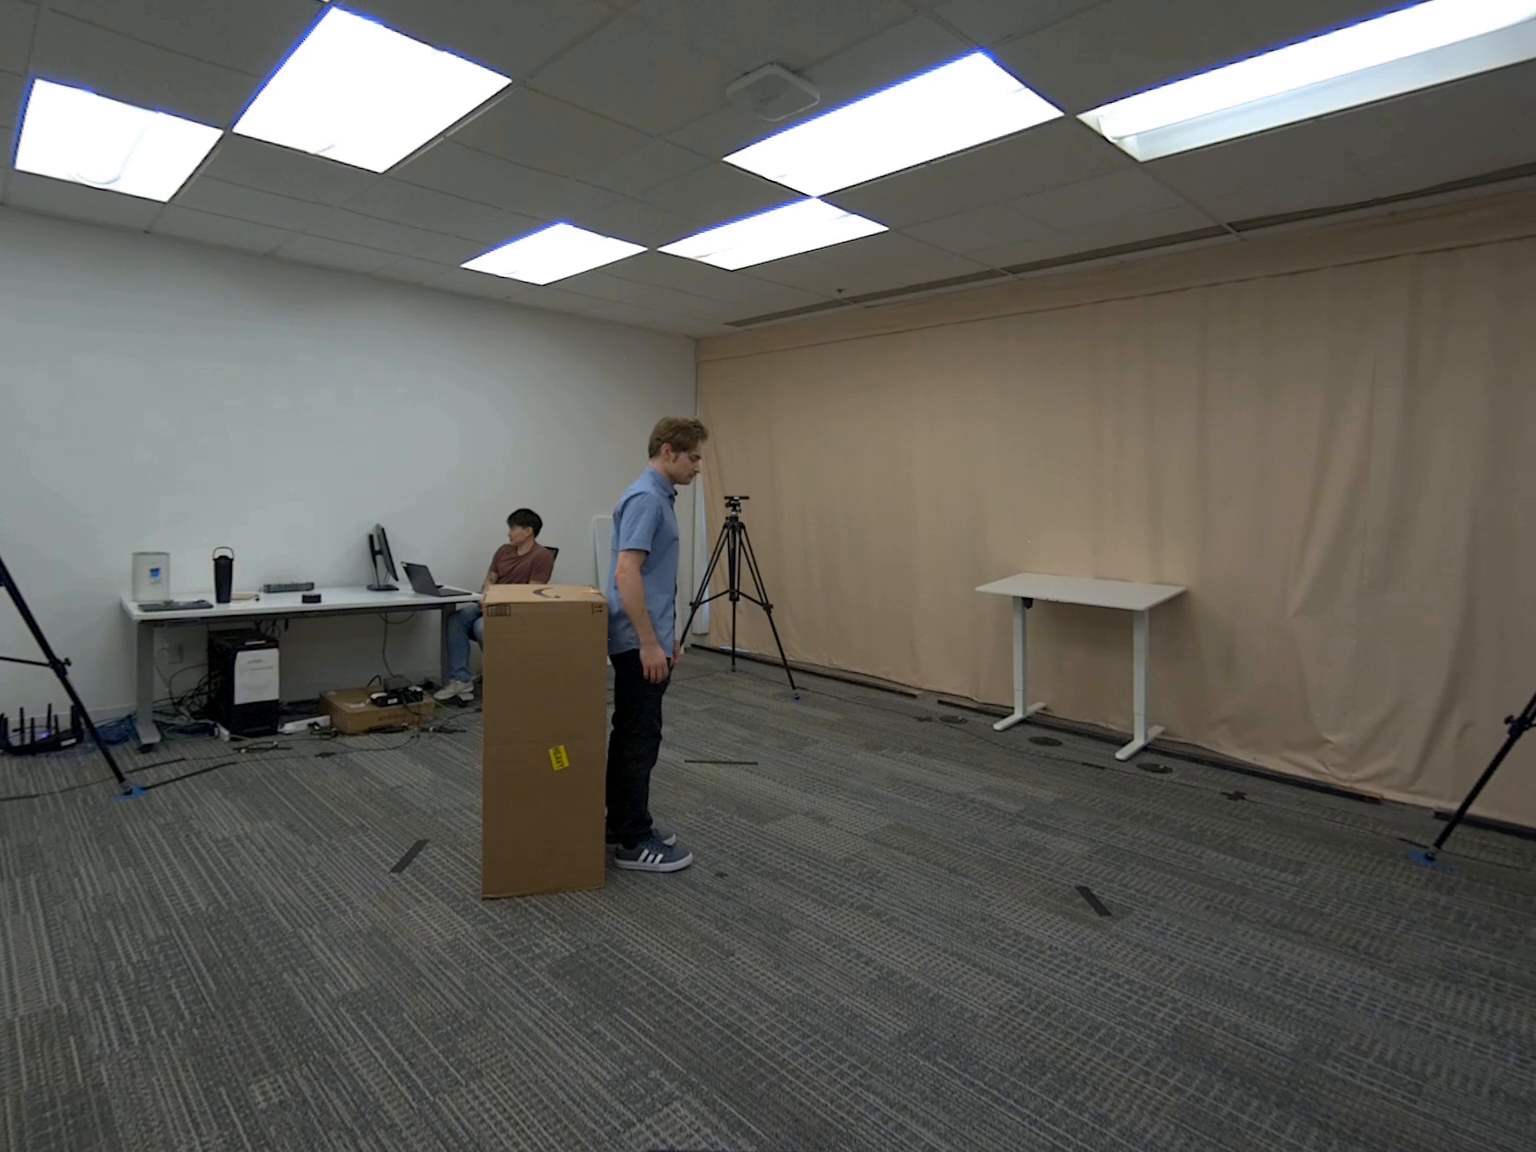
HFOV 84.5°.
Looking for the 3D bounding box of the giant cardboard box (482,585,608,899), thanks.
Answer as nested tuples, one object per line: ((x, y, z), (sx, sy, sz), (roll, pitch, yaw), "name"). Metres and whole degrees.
((-0.860, 0.579, 3.172), (0.441, 1.025, 0.593), (0, 3, -17), "giant cardboard box")
